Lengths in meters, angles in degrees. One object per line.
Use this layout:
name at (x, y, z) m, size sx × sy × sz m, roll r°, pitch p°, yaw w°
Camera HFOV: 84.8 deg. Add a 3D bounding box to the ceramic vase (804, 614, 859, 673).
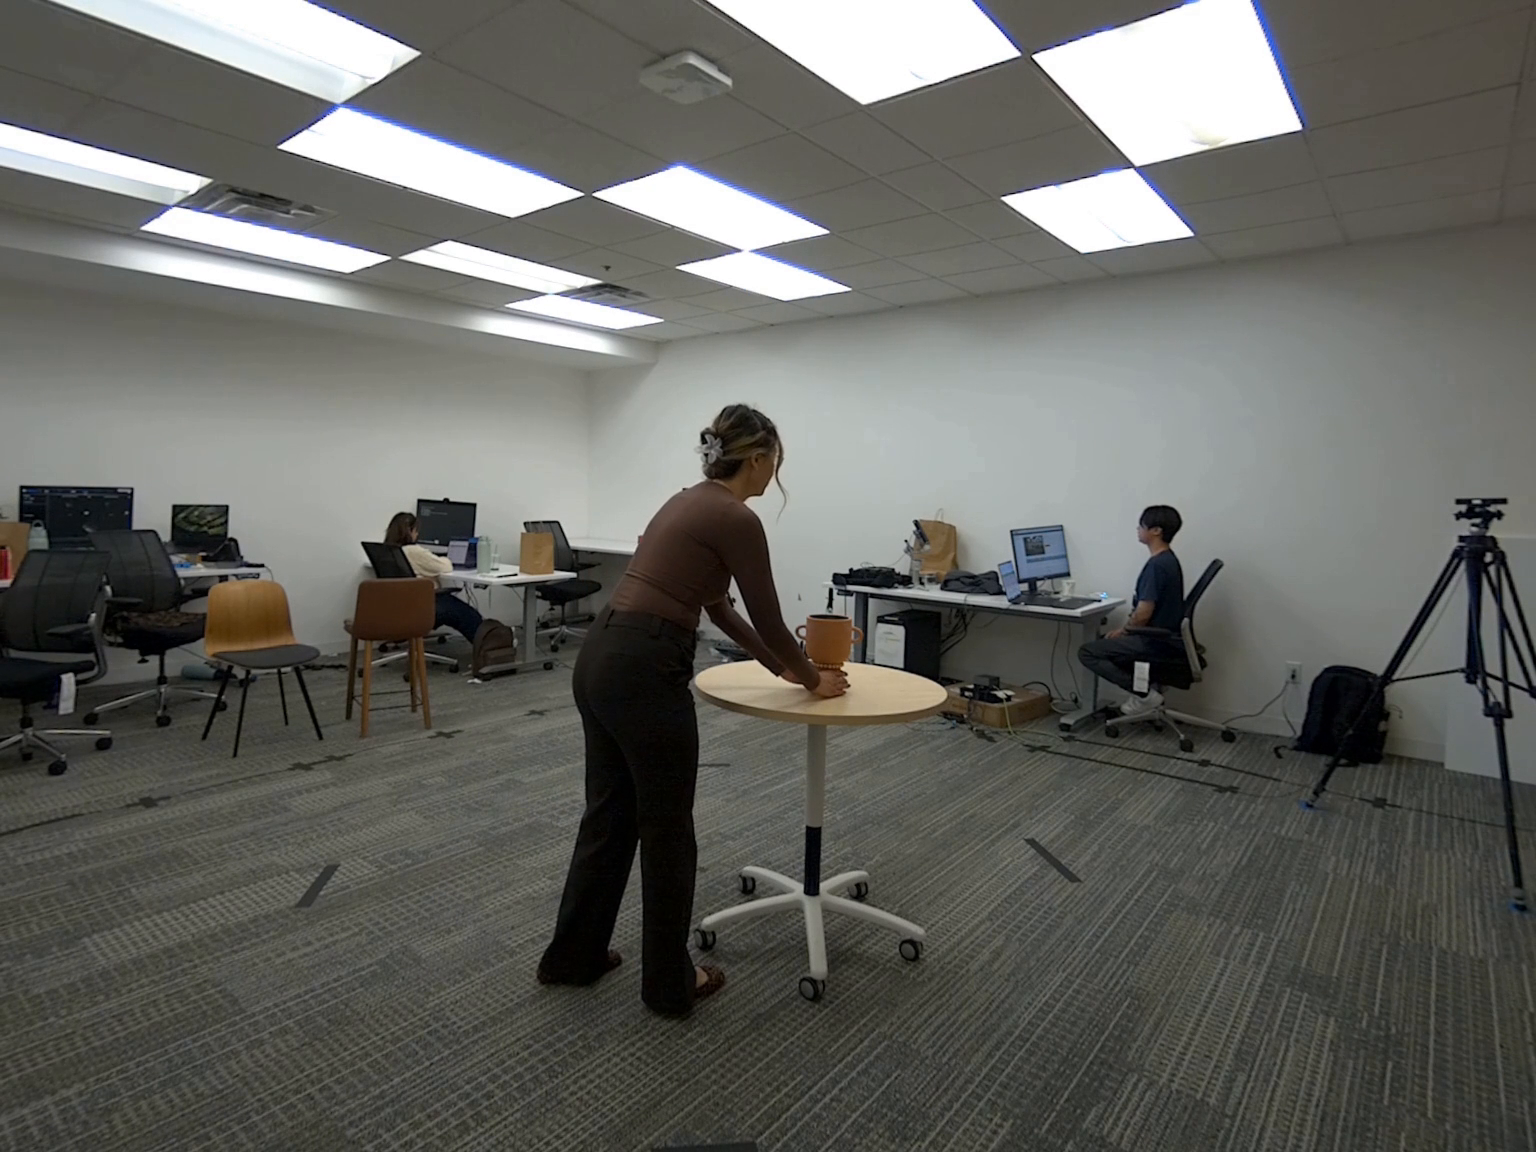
ceramic vase at (0.173, 0.229, 2.511) m, size 0.130 × 0.219 × 0.164 m, roll -1°, pitch 4°, yaw -45°
